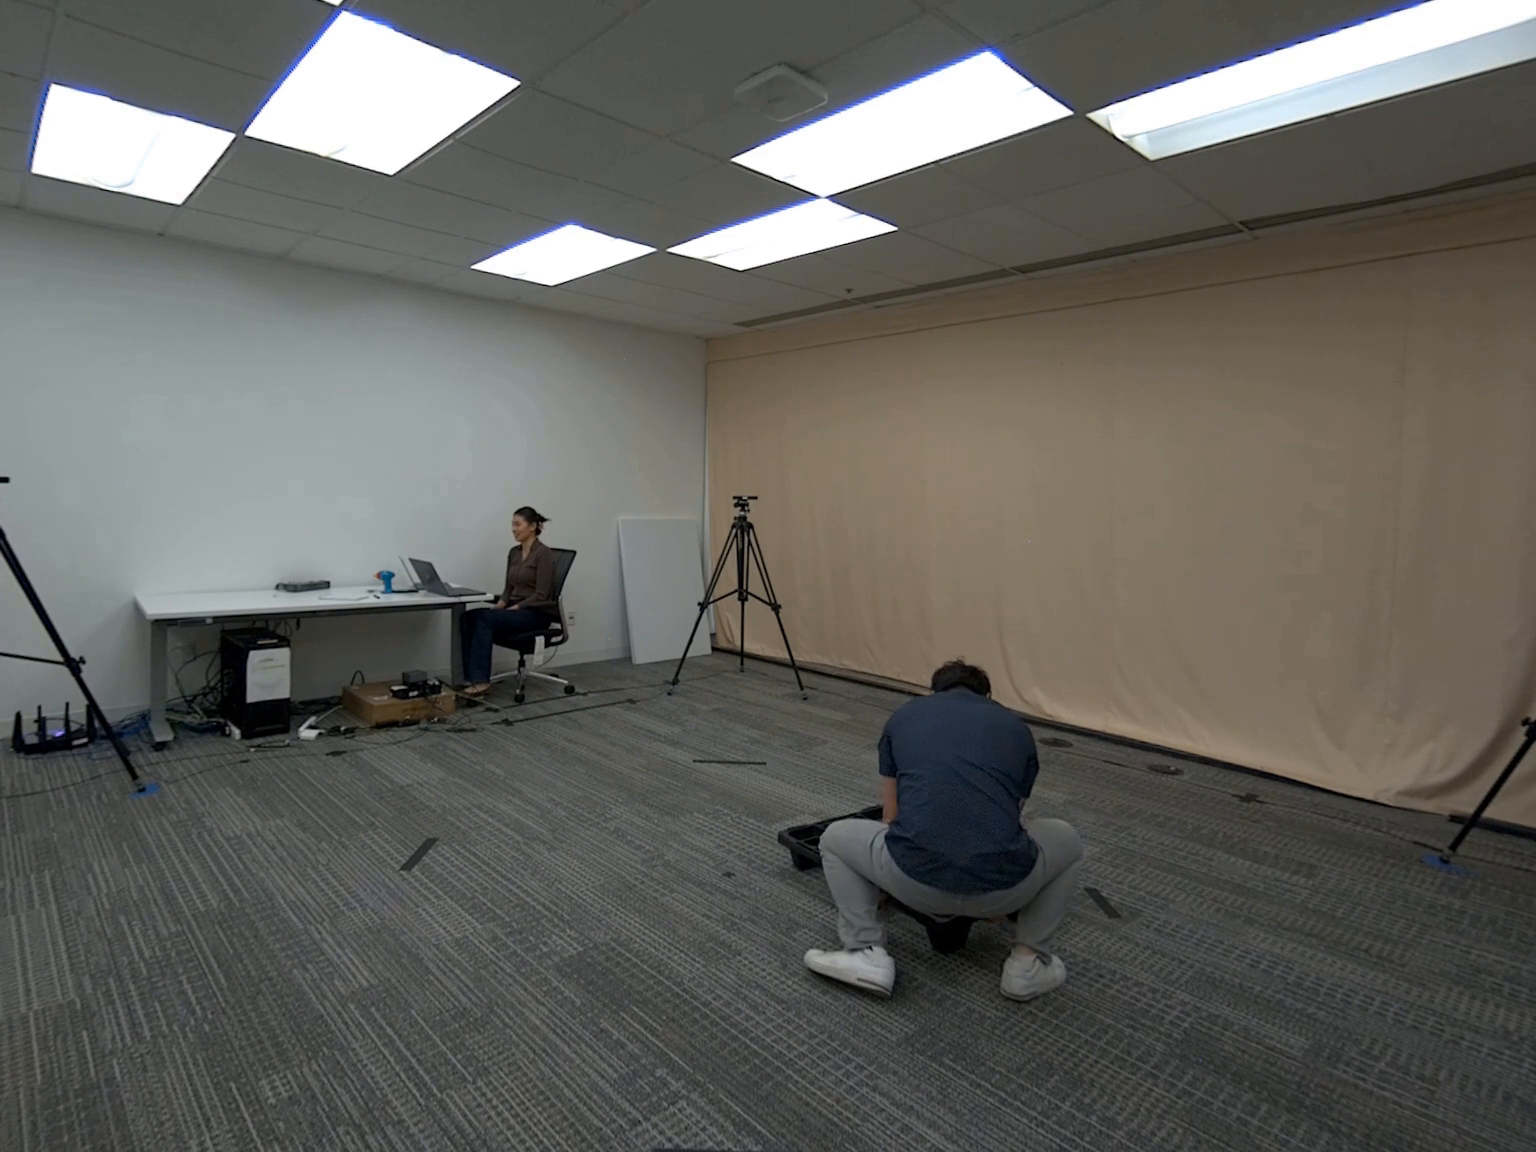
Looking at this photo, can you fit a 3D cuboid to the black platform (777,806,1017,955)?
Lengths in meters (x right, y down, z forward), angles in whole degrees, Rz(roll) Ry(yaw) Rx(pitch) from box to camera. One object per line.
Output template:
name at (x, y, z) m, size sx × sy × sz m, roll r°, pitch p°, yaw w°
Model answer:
black platform at (0.502, 1.060, 3.026) m, size 0.591 × 0.143 × 0.826 m, roll -1°, pitch 7°, yaw -37°
